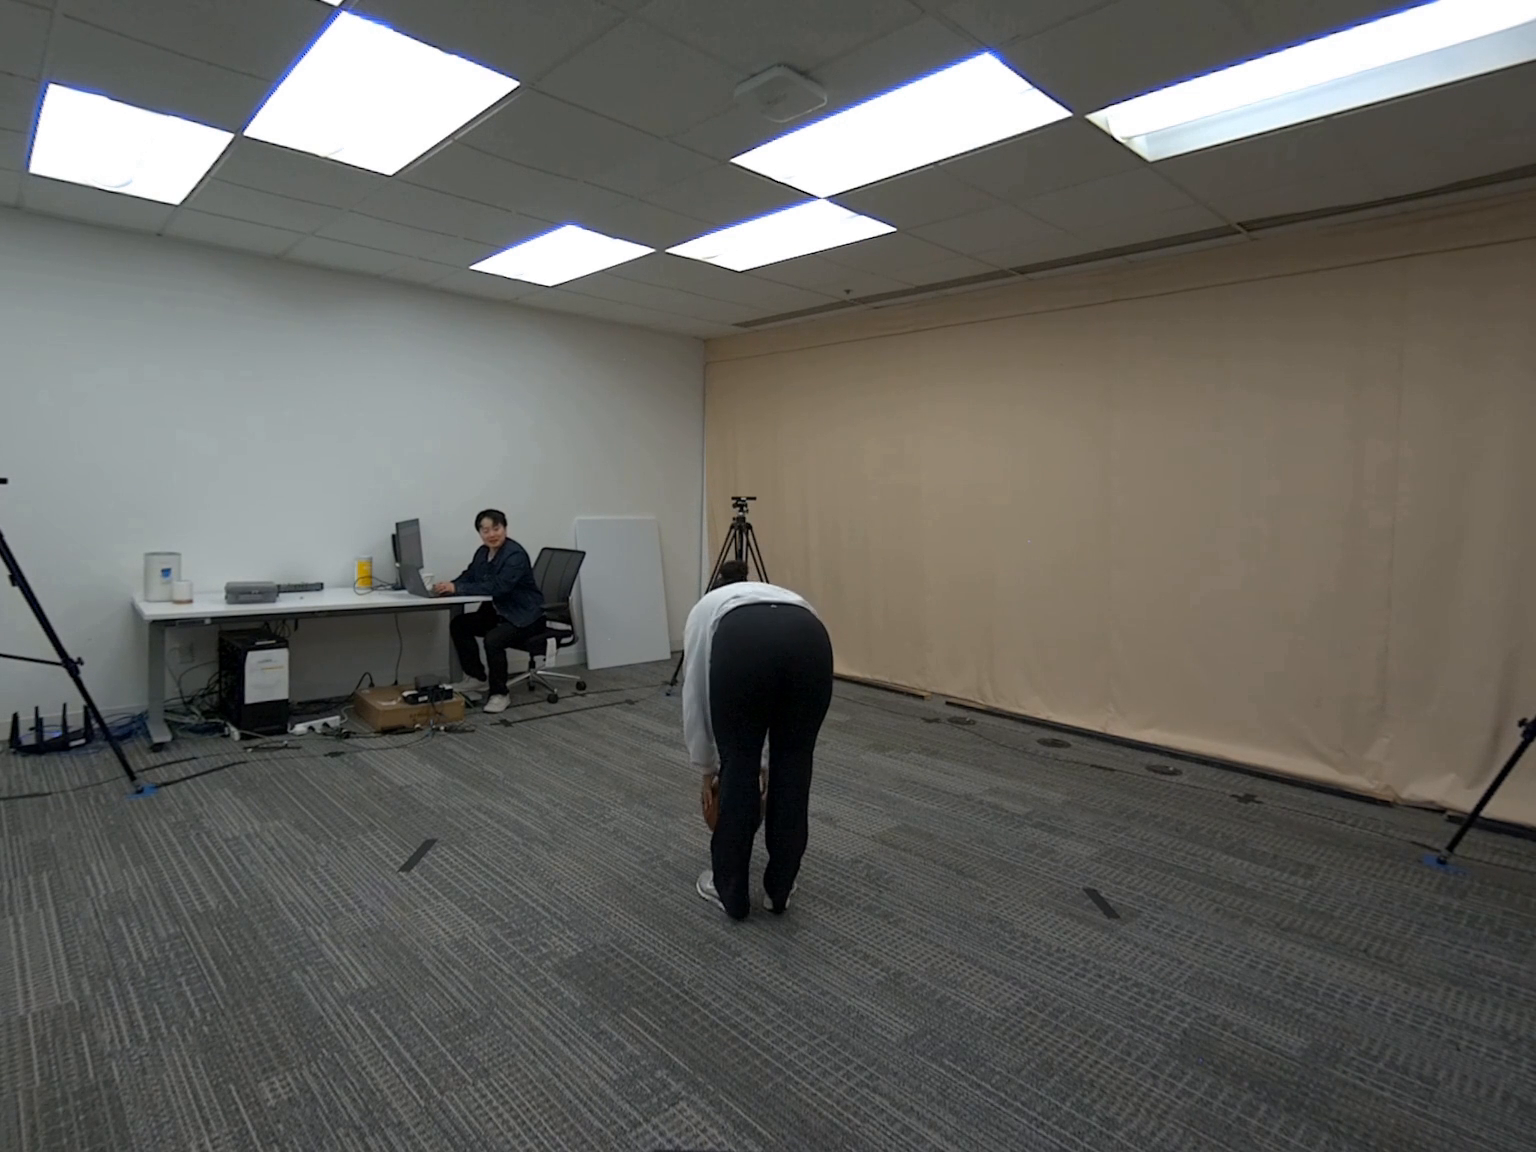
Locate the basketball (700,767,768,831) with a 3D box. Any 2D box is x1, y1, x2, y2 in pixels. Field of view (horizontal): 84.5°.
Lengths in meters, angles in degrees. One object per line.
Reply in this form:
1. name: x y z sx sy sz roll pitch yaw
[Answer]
1. basketball: -0.117 0.855 3.159 0.236 0.235 0.237 1 4 -1
